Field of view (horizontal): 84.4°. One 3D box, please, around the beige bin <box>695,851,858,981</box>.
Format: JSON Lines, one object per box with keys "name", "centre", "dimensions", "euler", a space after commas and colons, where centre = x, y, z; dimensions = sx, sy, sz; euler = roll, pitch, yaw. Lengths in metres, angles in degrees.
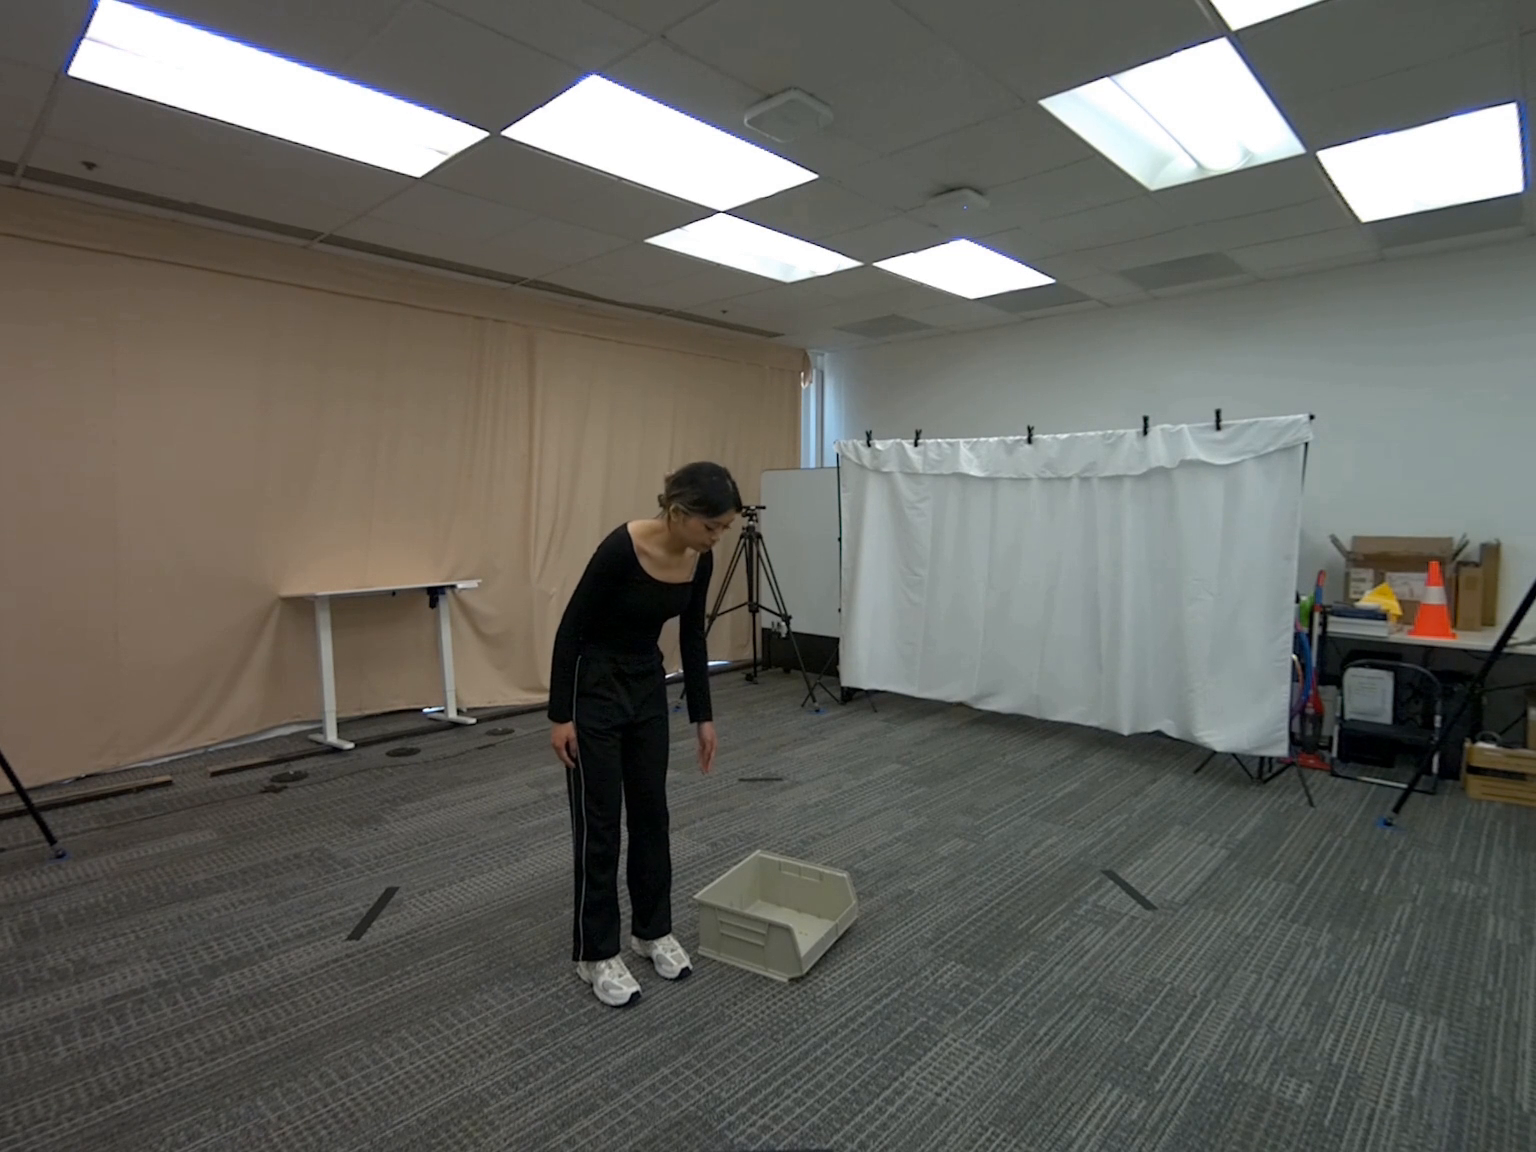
{"name": "beige bin", "centre": [0.036, 1.082, 2.696], "dimensions": [0.388, 0.188, 0.411], "euler": [2, 6, 30]}
